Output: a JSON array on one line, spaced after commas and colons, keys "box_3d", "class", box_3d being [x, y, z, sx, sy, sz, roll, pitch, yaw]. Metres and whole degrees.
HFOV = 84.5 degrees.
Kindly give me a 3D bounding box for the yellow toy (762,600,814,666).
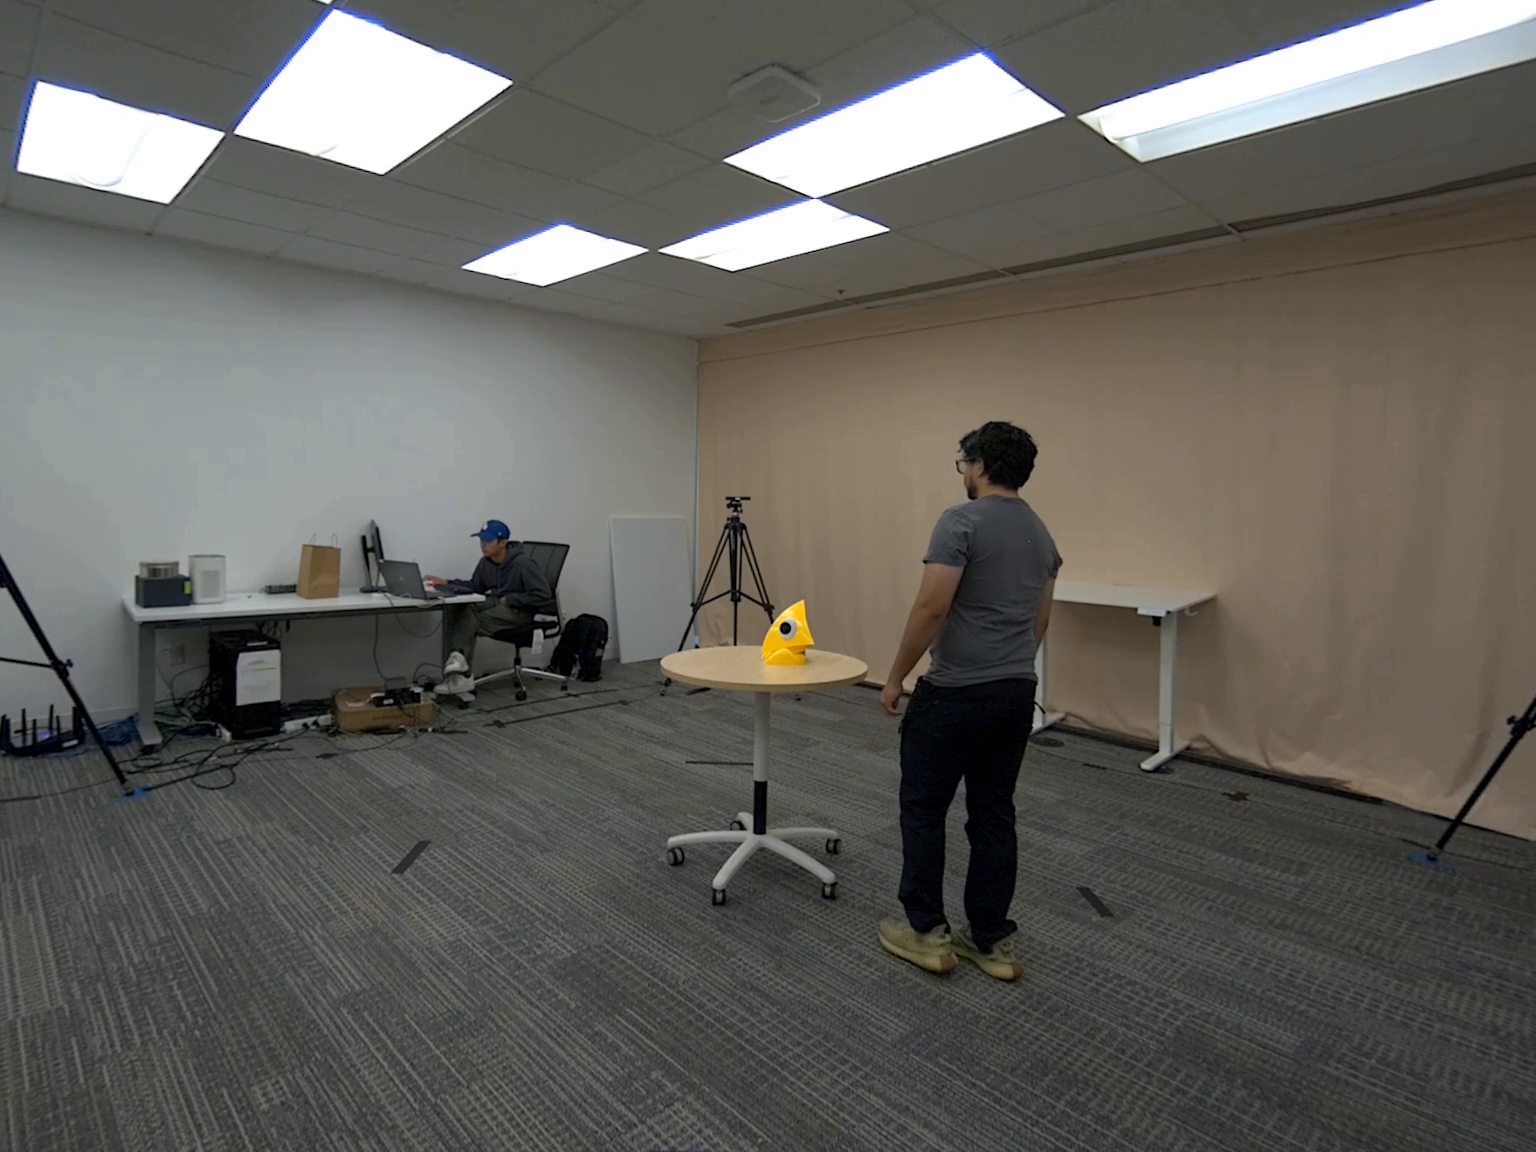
[{"box_3d": [0.066, 0.207, 3.188, 0.193, 0.230, 0.206, 0, 4, -3], "class": "yellow toy"}]
